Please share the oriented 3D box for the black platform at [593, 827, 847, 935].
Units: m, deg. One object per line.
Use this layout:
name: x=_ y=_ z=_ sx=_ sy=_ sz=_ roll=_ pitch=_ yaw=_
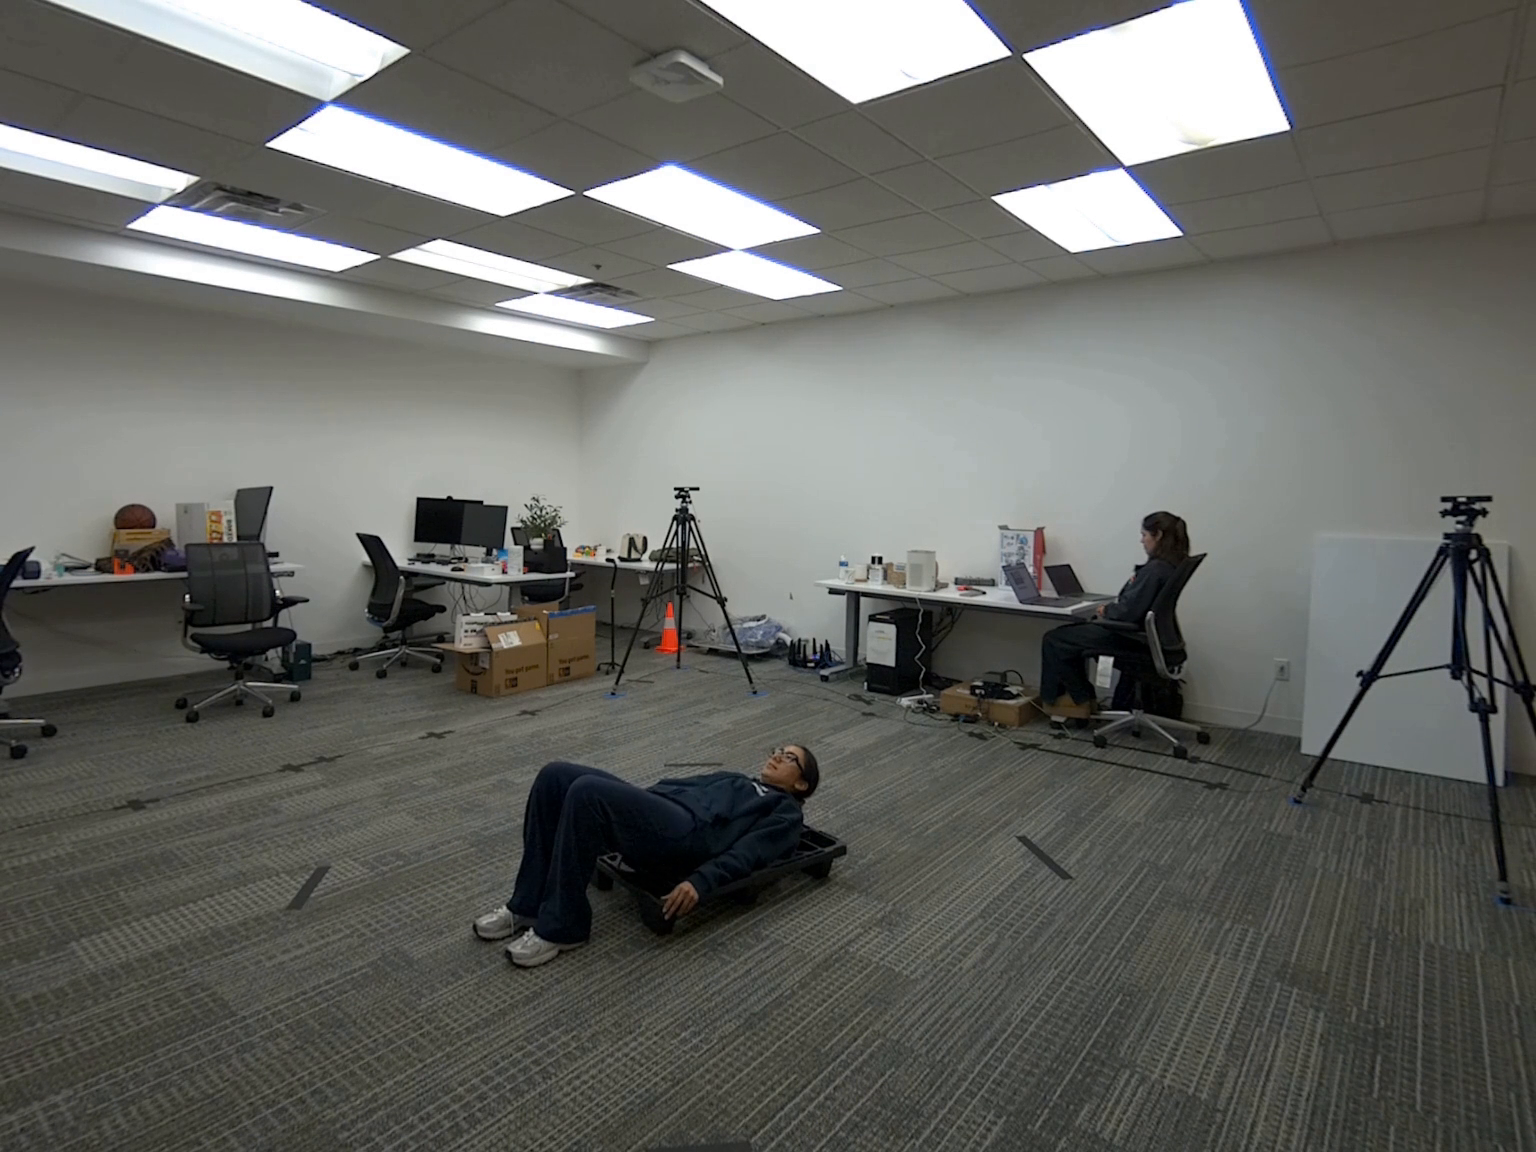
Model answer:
black platform: x=-0.206 y=1.011 z=3.025 sx=0.782 sy=0.143 sz=0.625 roll=-4 pitch=7 yaw=-38
